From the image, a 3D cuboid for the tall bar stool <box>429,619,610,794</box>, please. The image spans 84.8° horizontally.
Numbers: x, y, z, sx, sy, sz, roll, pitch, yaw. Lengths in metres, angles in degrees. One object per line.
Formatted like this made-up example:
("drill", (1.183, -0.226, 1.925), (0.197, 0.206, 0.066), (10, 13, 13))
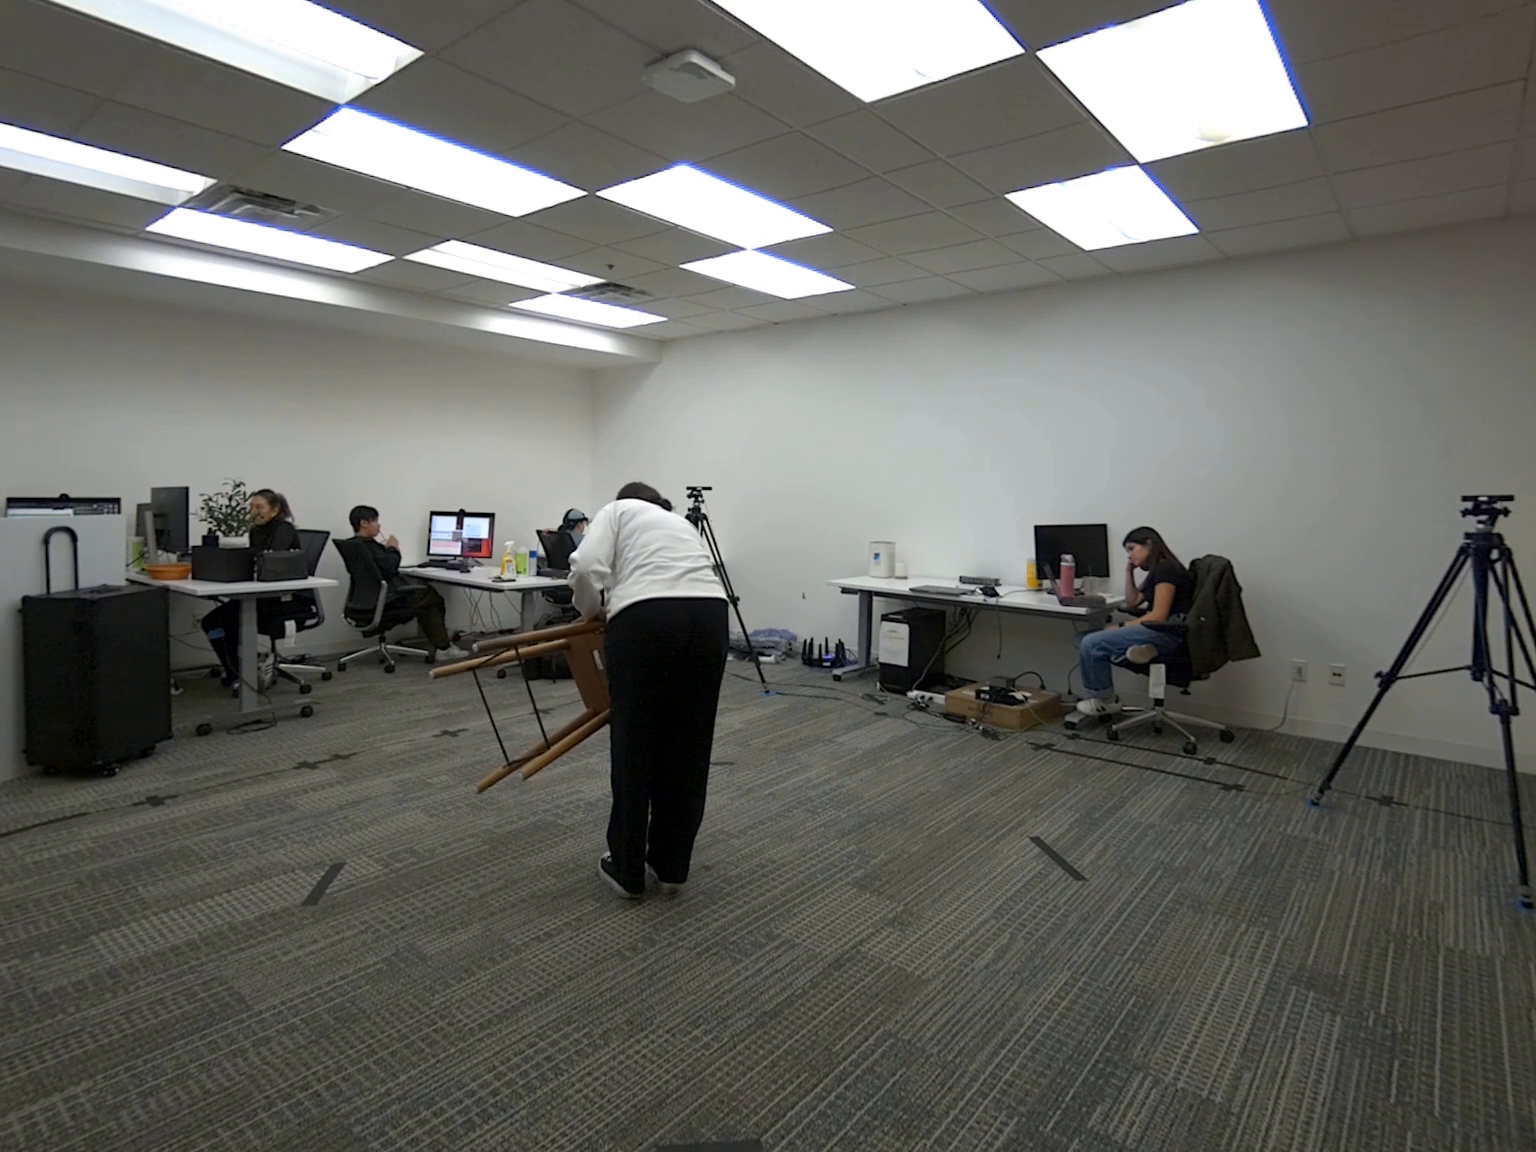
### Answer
("tall bar stool", (-0.681, 0.385, 3.097), (0.870, 0.472, 0.463), (-18, -7, -44))
